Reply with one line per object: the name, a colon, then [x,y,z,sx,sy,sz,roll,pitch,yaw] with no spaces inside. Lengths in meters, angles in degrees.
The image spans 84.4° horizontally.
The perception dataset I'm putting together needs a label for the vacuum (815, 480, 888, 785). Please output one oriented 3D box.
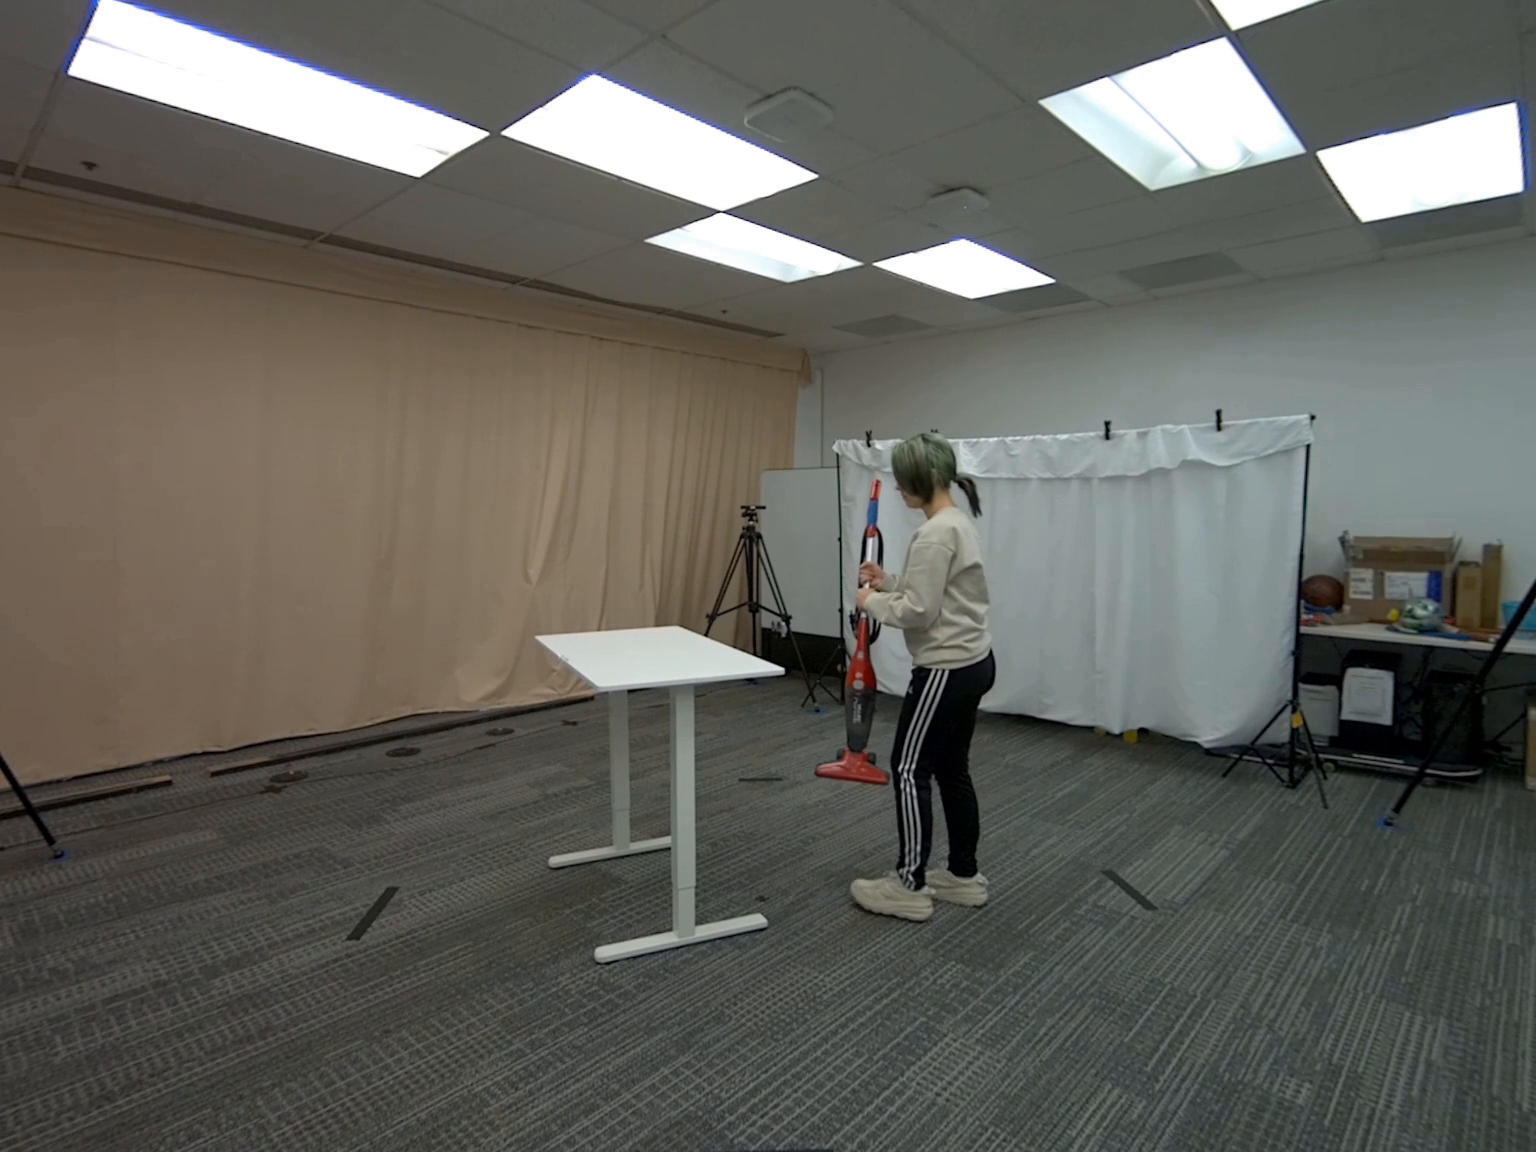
vacuum: [0.360,0.168,3.039,0.258,1.056,0.140,2,-14,18]
